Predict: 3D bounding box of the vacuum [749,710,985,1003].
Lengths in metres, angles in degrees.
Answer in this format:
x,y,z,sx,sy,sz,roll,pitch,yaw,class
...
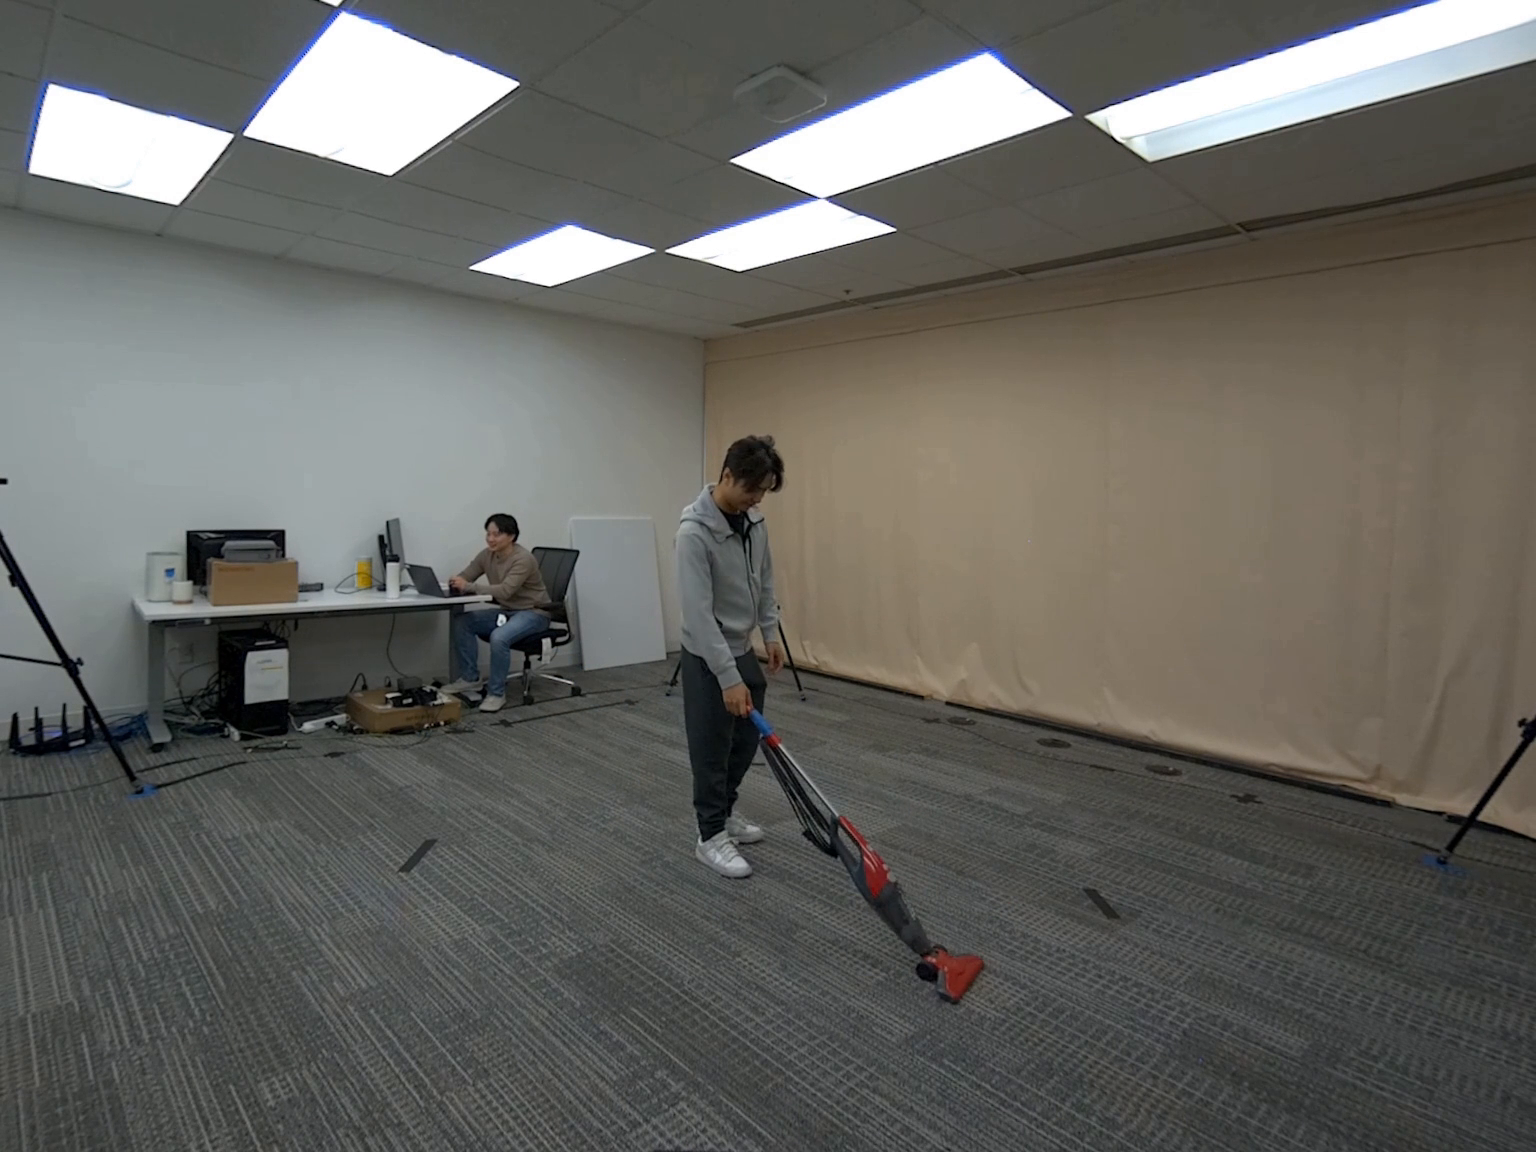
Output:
x,y,z,sx,sy,sz,roll,pitch,yaw,class
0.195,0.808,2.701,1.075,0.143,0.247,48,25,24,vacuum
